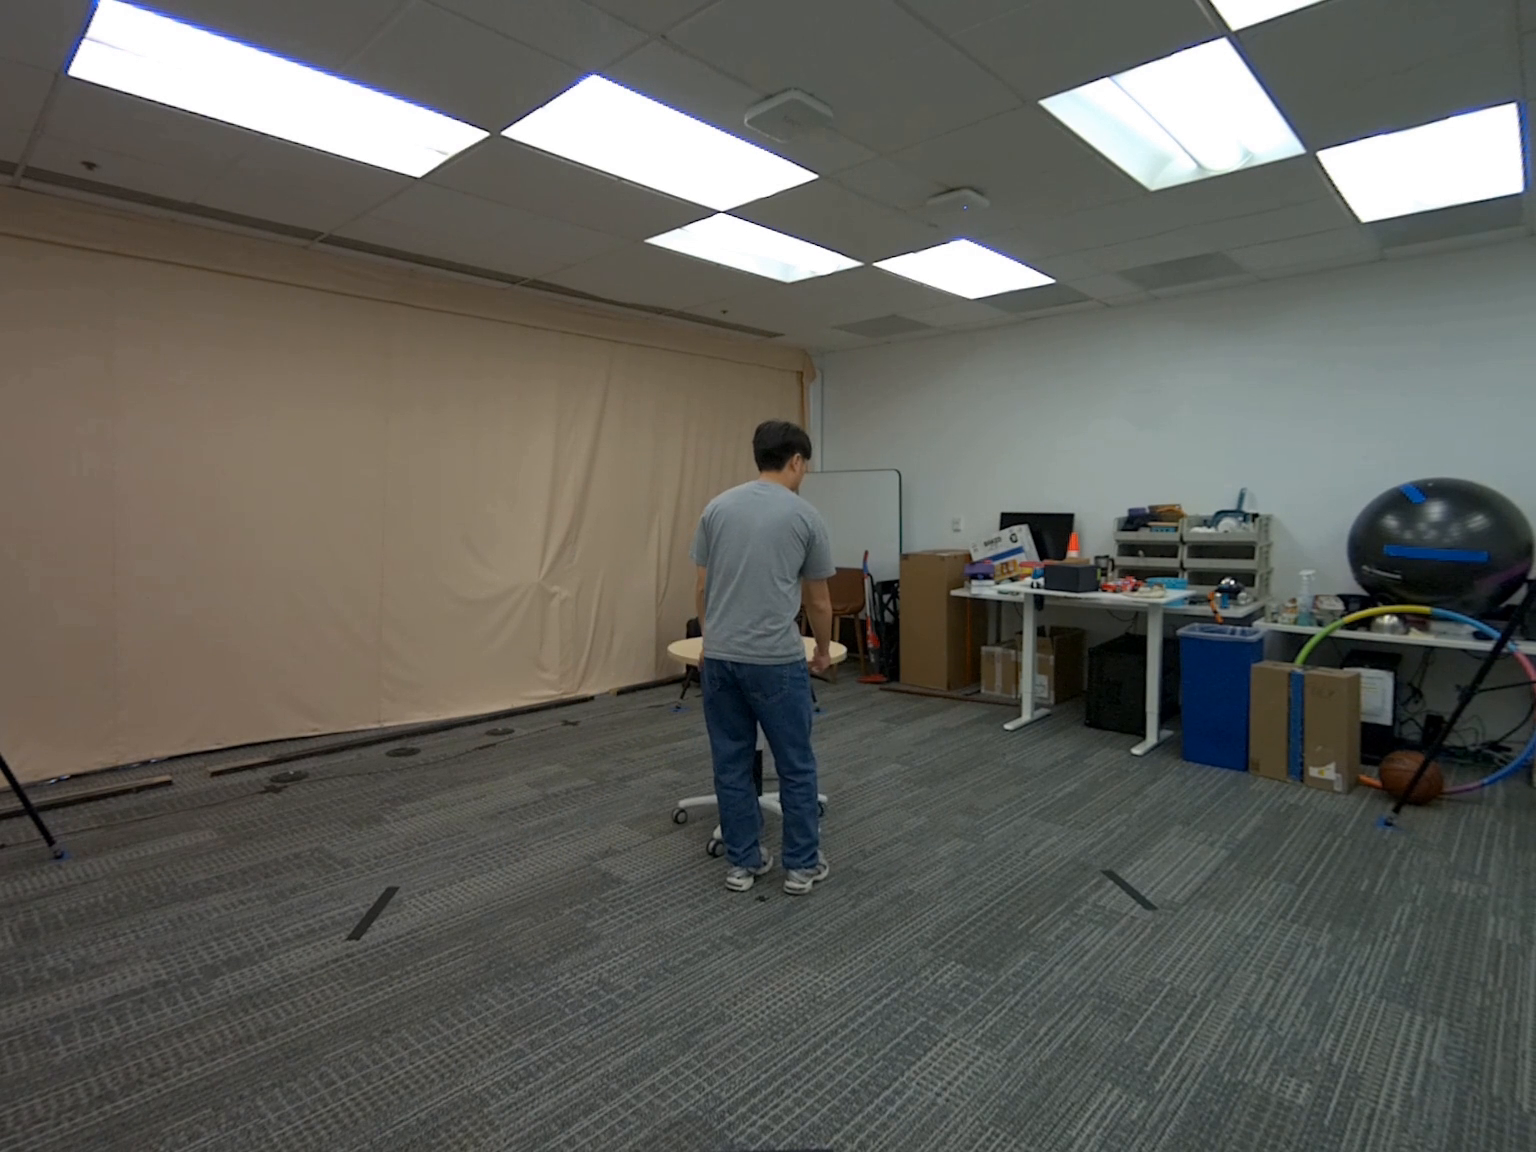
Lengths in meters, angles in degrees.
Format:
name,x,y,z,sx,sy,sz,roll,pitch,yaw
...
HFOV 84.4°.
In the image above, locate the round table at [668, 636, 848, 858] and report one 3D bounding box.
name,x,y,z,sx,sy,sz,roll,pitch,yaw
round table,-0.042,0.700,3.627,0.763,0.792,0.766,0,3,-2
